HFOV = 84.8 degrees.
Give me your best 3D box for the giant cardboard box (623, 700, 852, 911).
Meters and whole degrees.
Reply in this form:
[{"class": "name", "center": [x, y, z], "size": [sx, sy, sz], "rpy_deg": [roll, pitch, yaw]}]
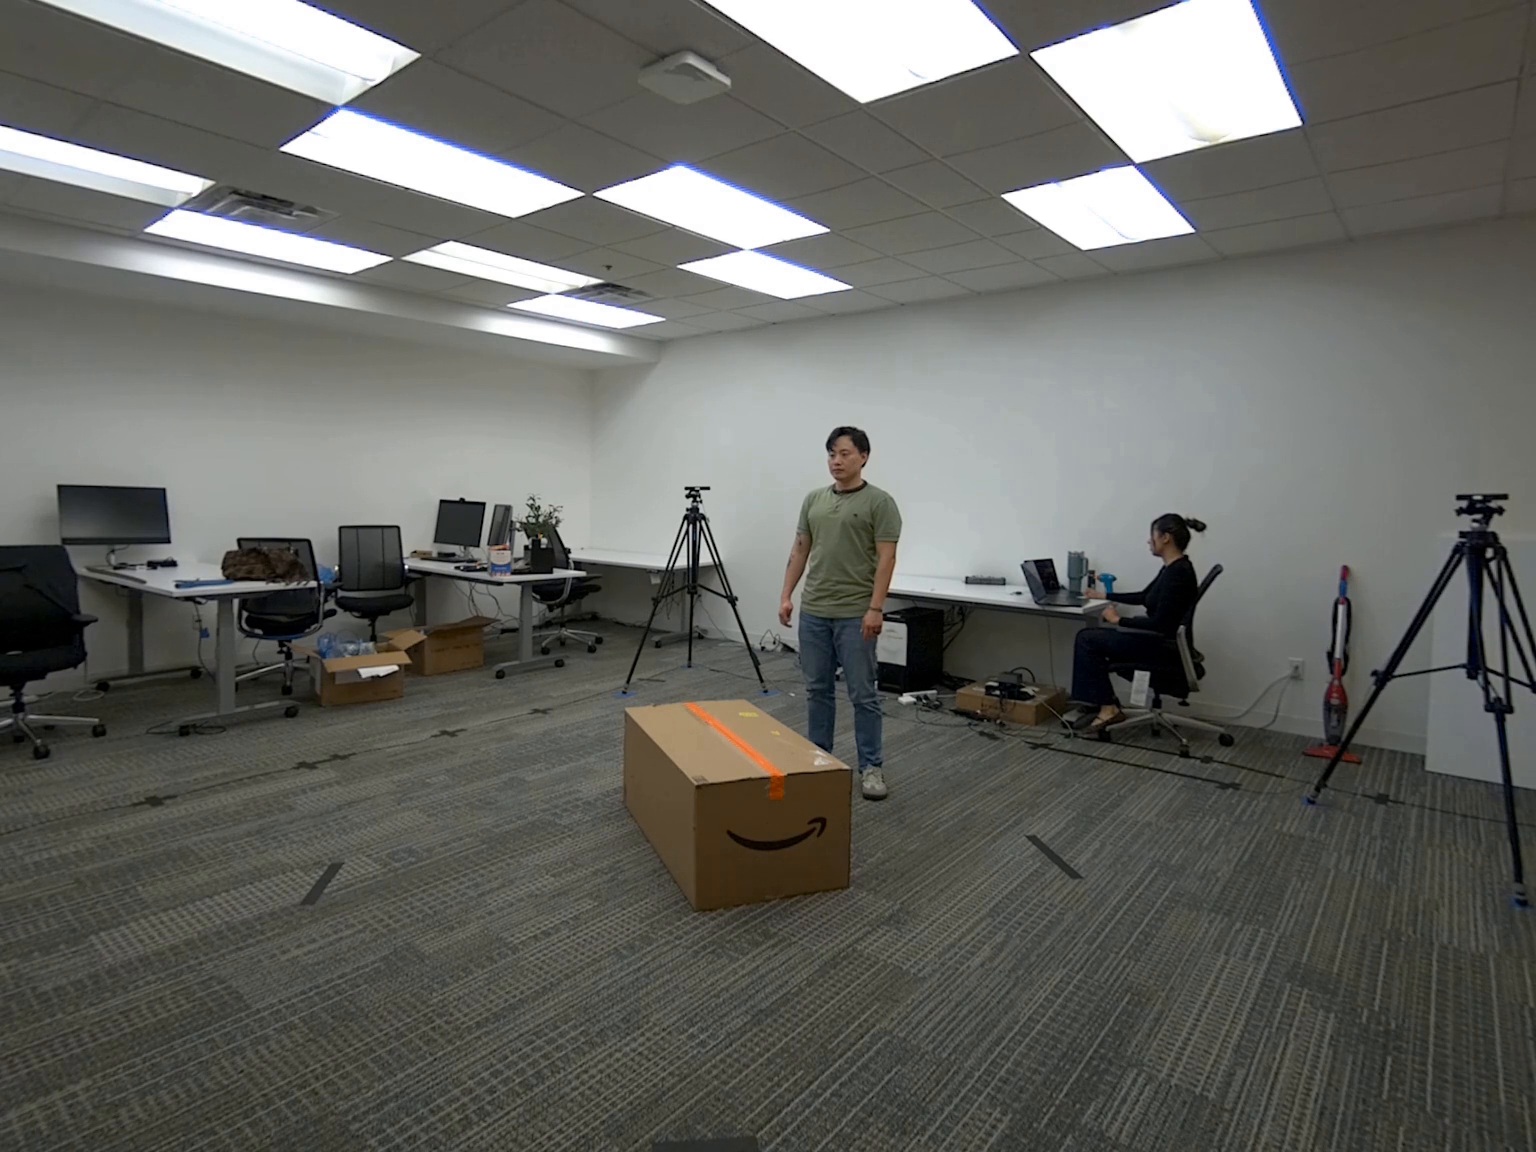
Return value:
[{"class": "giant cardboard box", "center": [-0.182, 0.824, 3.339], "size": [0.565, 0.425, 1.052], "rpy_deg": [0, 5, -23]}]
